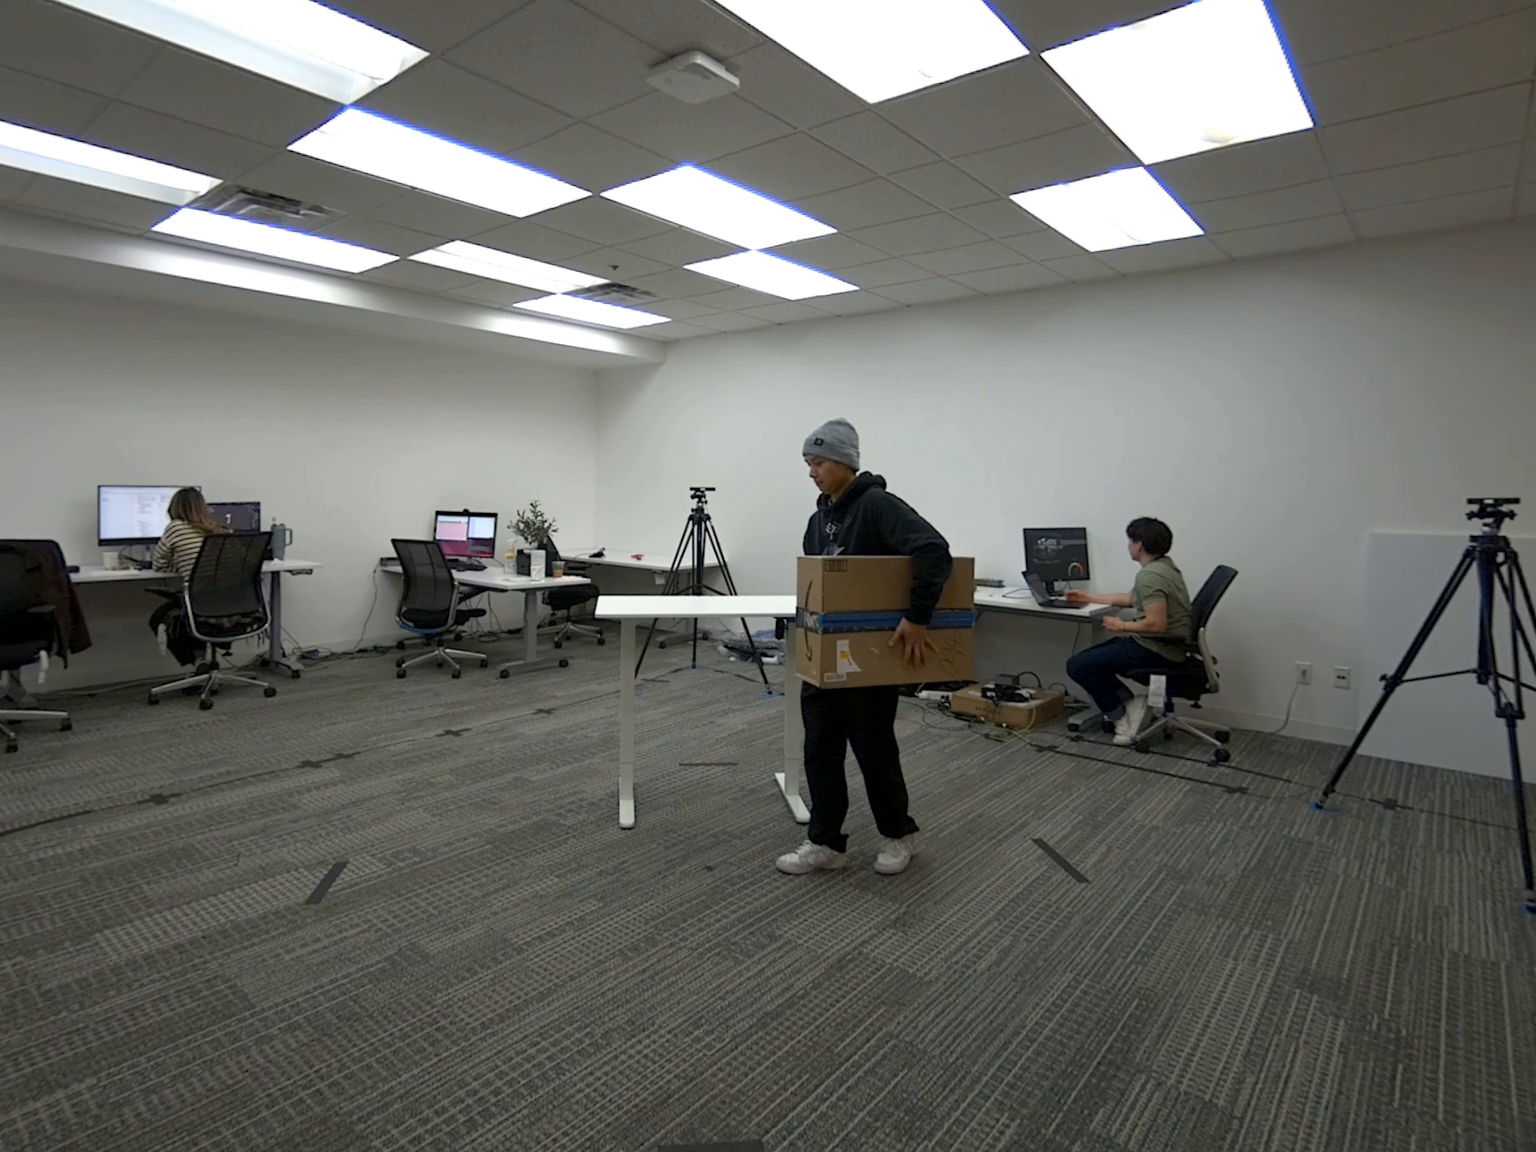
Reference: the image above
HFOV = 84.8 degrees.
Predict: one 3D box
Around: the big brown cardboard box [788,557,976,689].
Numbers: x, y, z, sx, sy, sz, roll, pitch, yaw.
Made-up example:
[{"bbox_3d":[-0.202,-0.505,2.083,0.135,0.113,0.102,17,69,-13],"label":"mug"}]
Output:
[{"bbox_3d":[0.389,0.140,2.866,0.580,0.417,0.237,0,1,-15],"label":"big brown cardboard box"}]
